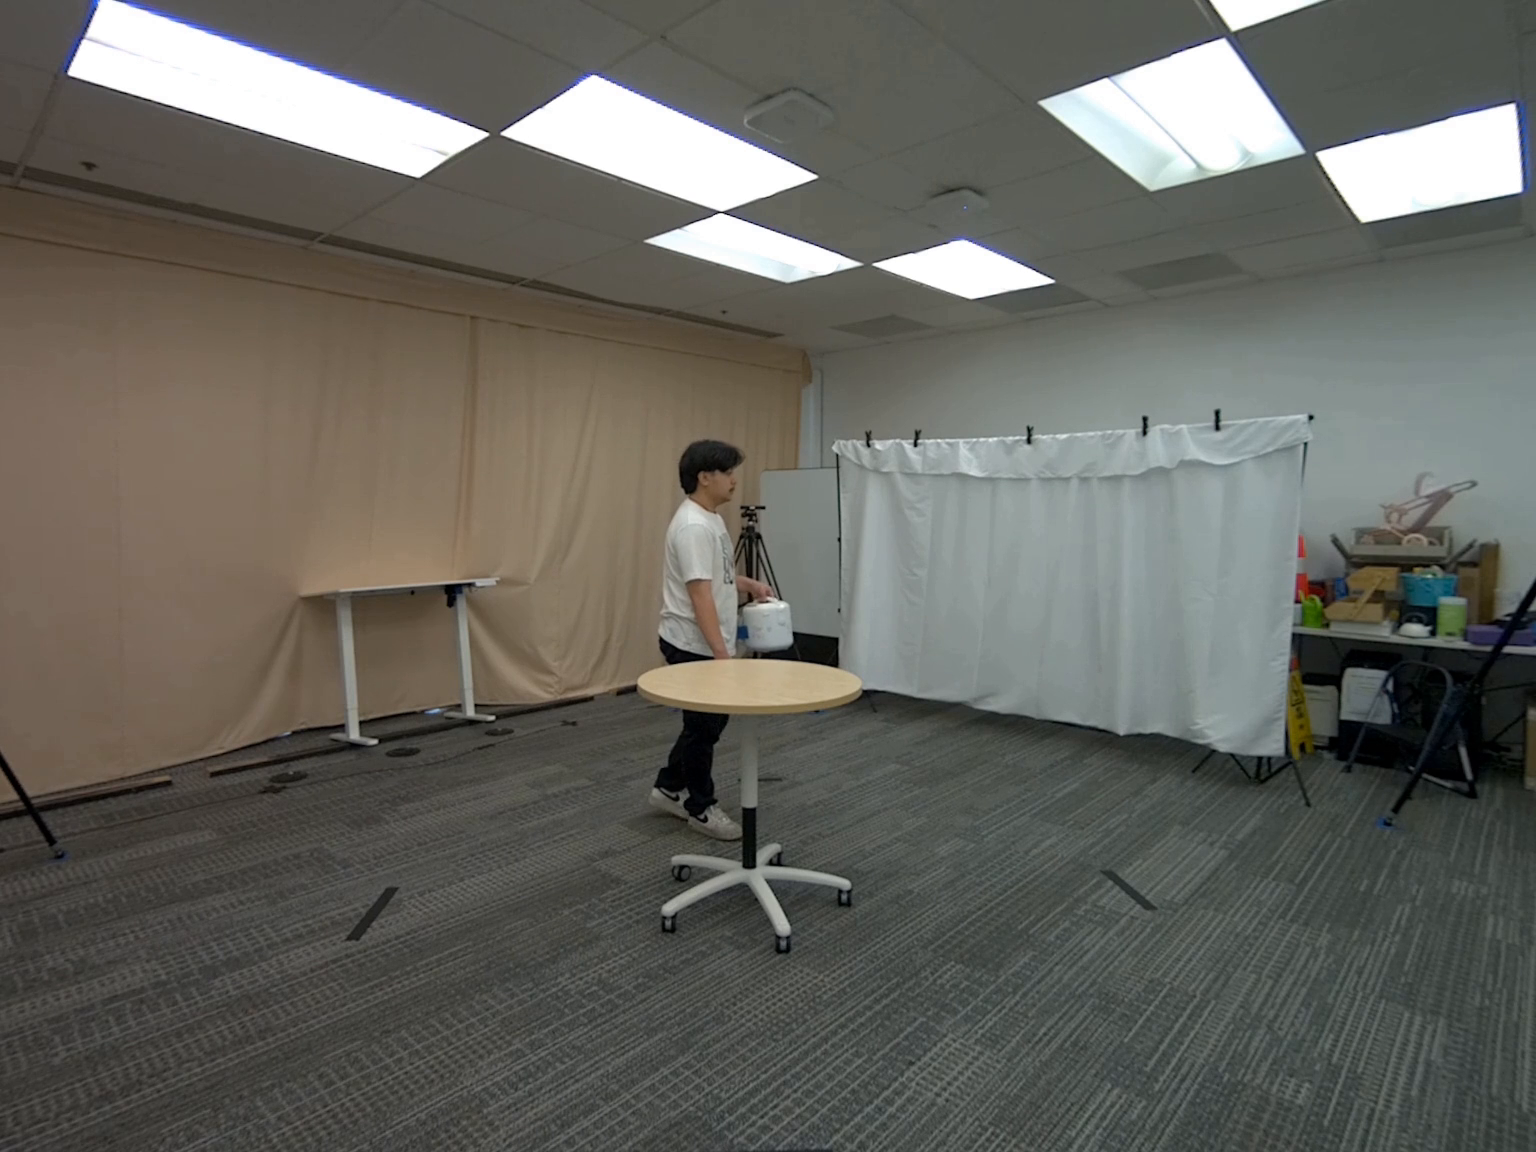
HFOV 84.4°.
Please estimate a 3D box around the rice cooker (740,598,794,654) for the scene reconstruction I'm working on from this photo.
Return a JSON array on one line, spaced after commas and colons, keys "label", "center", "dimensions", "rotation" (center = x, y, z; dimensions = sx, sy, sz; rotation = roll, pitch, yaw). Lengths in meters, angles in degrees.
[{"label": "rice cooker", "center": [-0.001, 0.207, 3.697], "dimensions": [0.211, 0.232, 0.227], "rotation": [-6, 3, -36]}]
